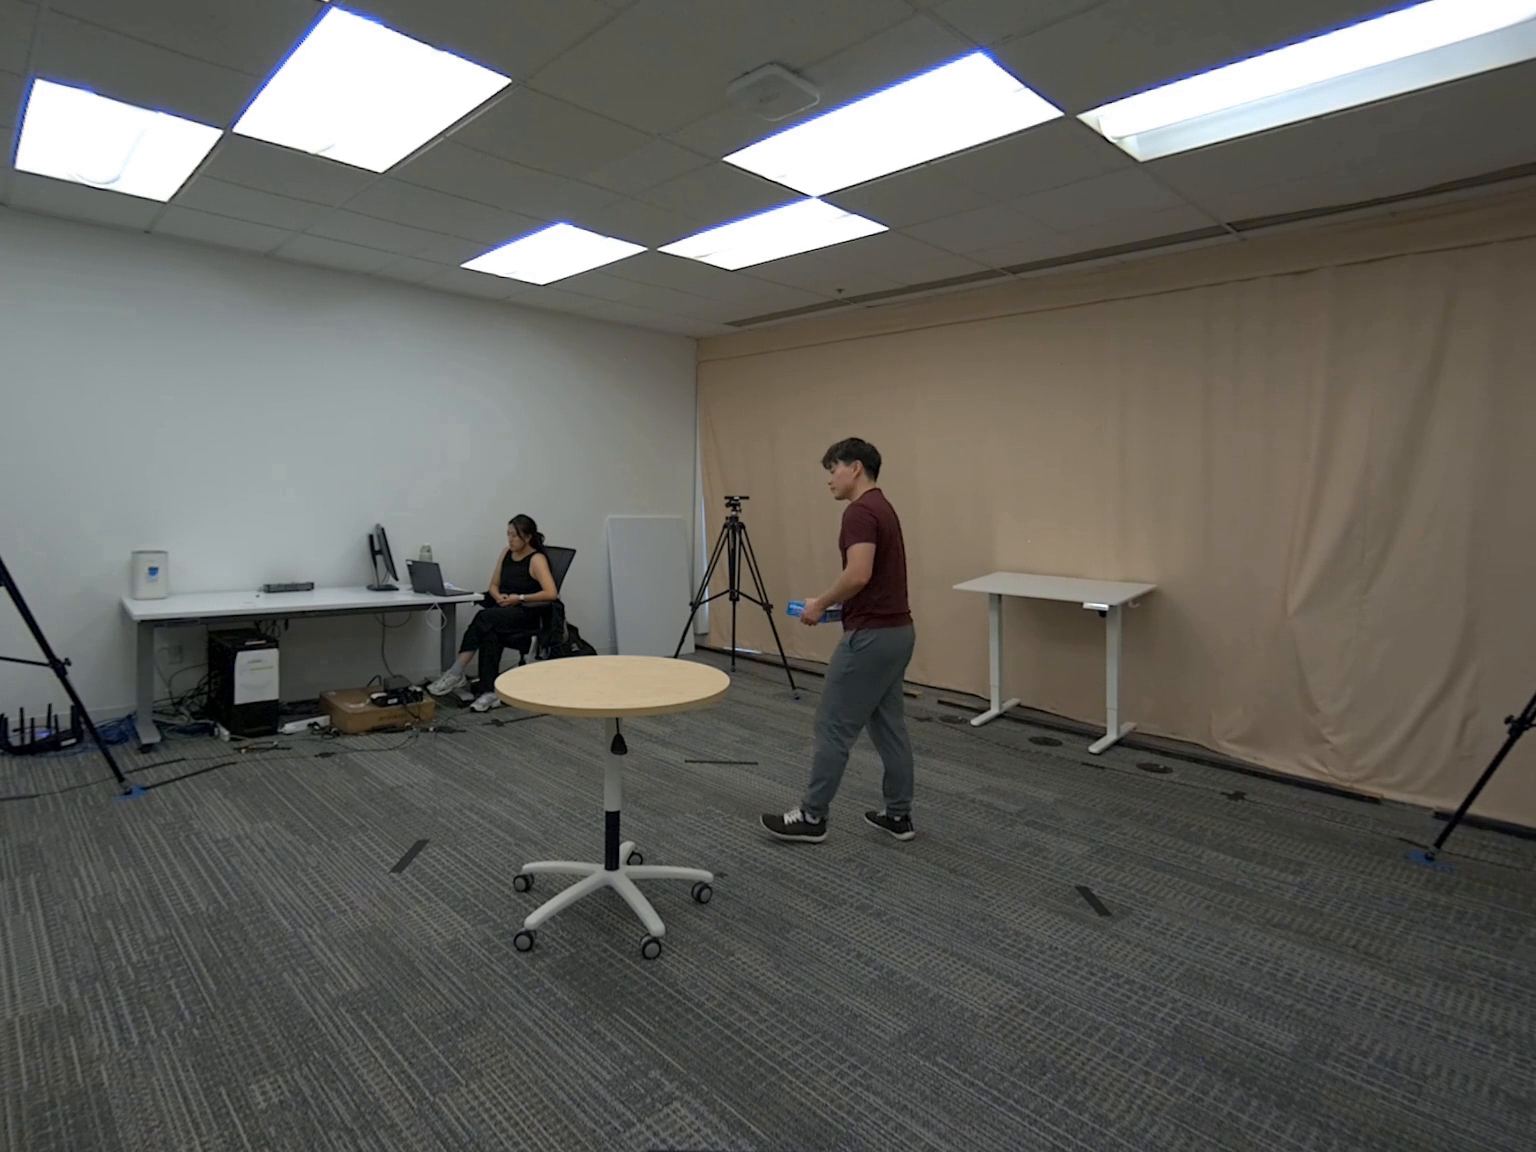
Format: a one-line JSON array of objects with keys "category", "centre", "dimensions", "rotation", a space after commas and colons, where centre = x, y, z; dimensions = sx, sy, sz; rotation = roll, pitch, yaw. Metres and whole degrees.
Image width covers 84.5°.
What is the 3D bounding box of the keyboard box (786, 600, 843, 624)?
[{"category": "keyboard box", "centre": [0.237, 0.158, 3.677], "dimensions": [0.180, 0.059, 0.428], "rotation": [16, 6, 23]}]
